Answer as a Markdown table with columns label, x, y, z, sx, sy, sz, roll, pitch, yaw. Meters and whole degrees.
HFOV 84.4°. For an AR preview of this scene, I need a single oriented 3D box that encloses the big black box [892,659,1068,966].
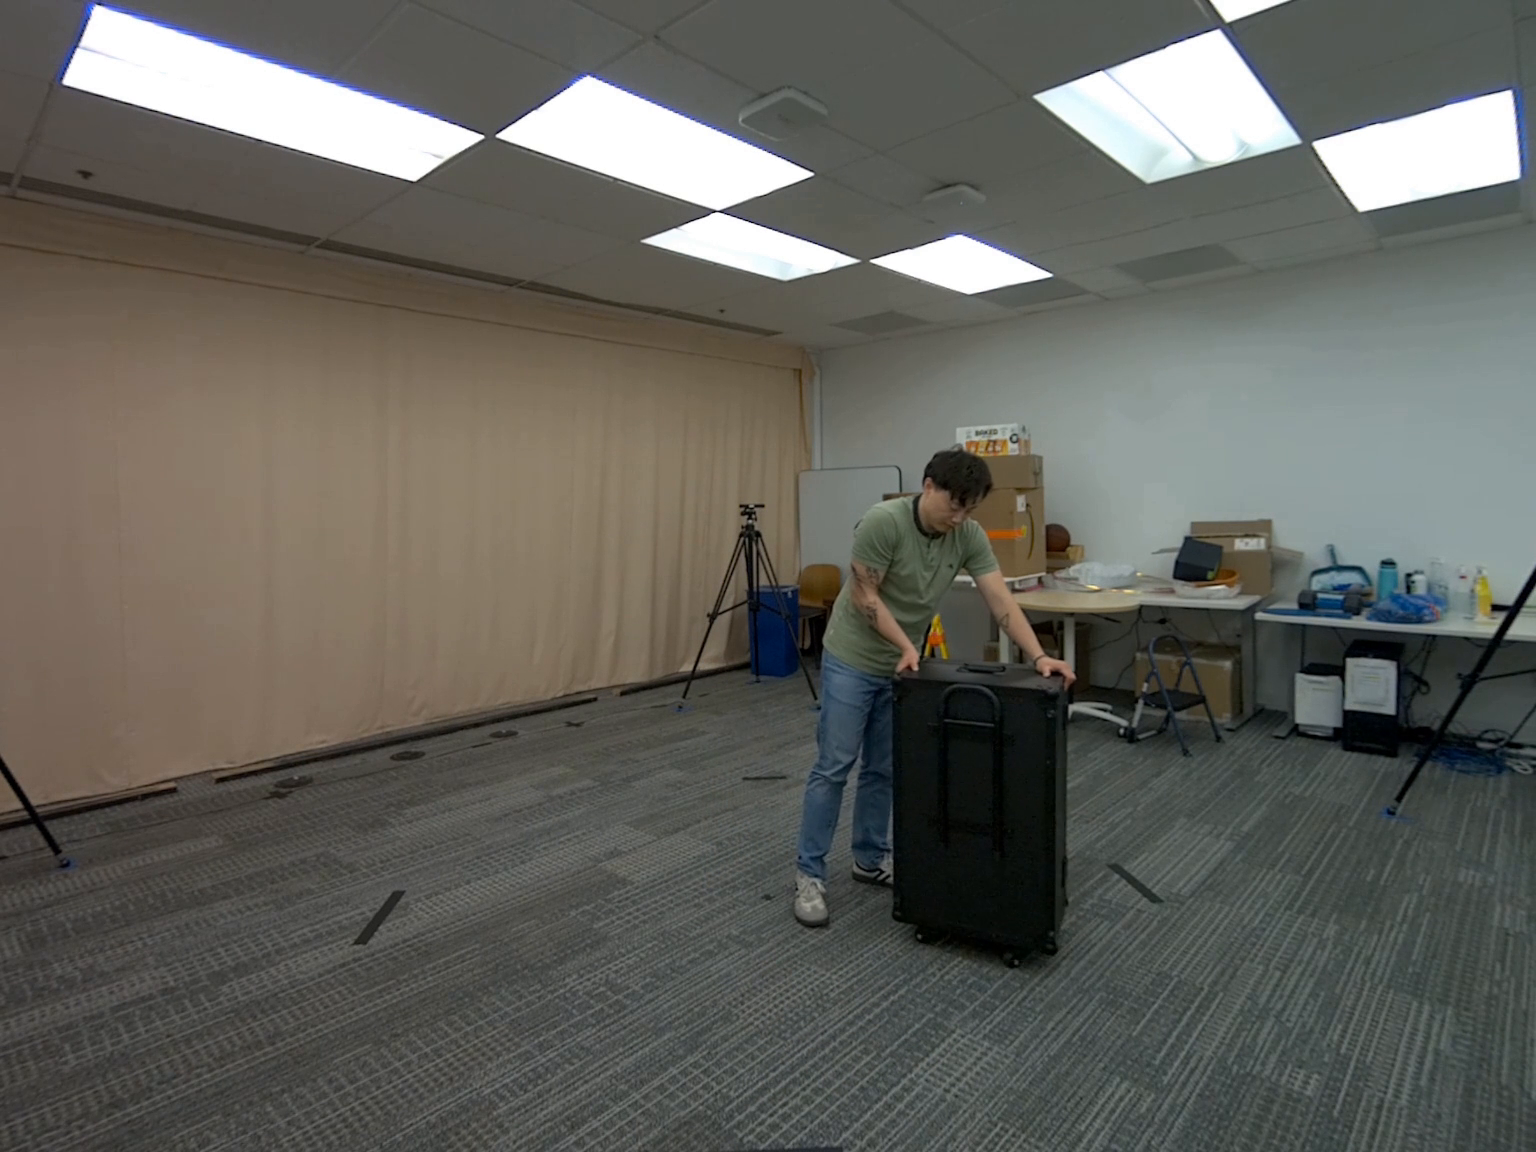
| label | x | y | z | sx | sy | sz | roll | pitch | yaw |
| --- | --- | --- | --- | --- | --- | --- | --- | --- | --- |
| big black box | 0.697 | 0.735 | 2.664 | 0.535 | 0.859 | 0.387 | 1 | 5 | 26 |
